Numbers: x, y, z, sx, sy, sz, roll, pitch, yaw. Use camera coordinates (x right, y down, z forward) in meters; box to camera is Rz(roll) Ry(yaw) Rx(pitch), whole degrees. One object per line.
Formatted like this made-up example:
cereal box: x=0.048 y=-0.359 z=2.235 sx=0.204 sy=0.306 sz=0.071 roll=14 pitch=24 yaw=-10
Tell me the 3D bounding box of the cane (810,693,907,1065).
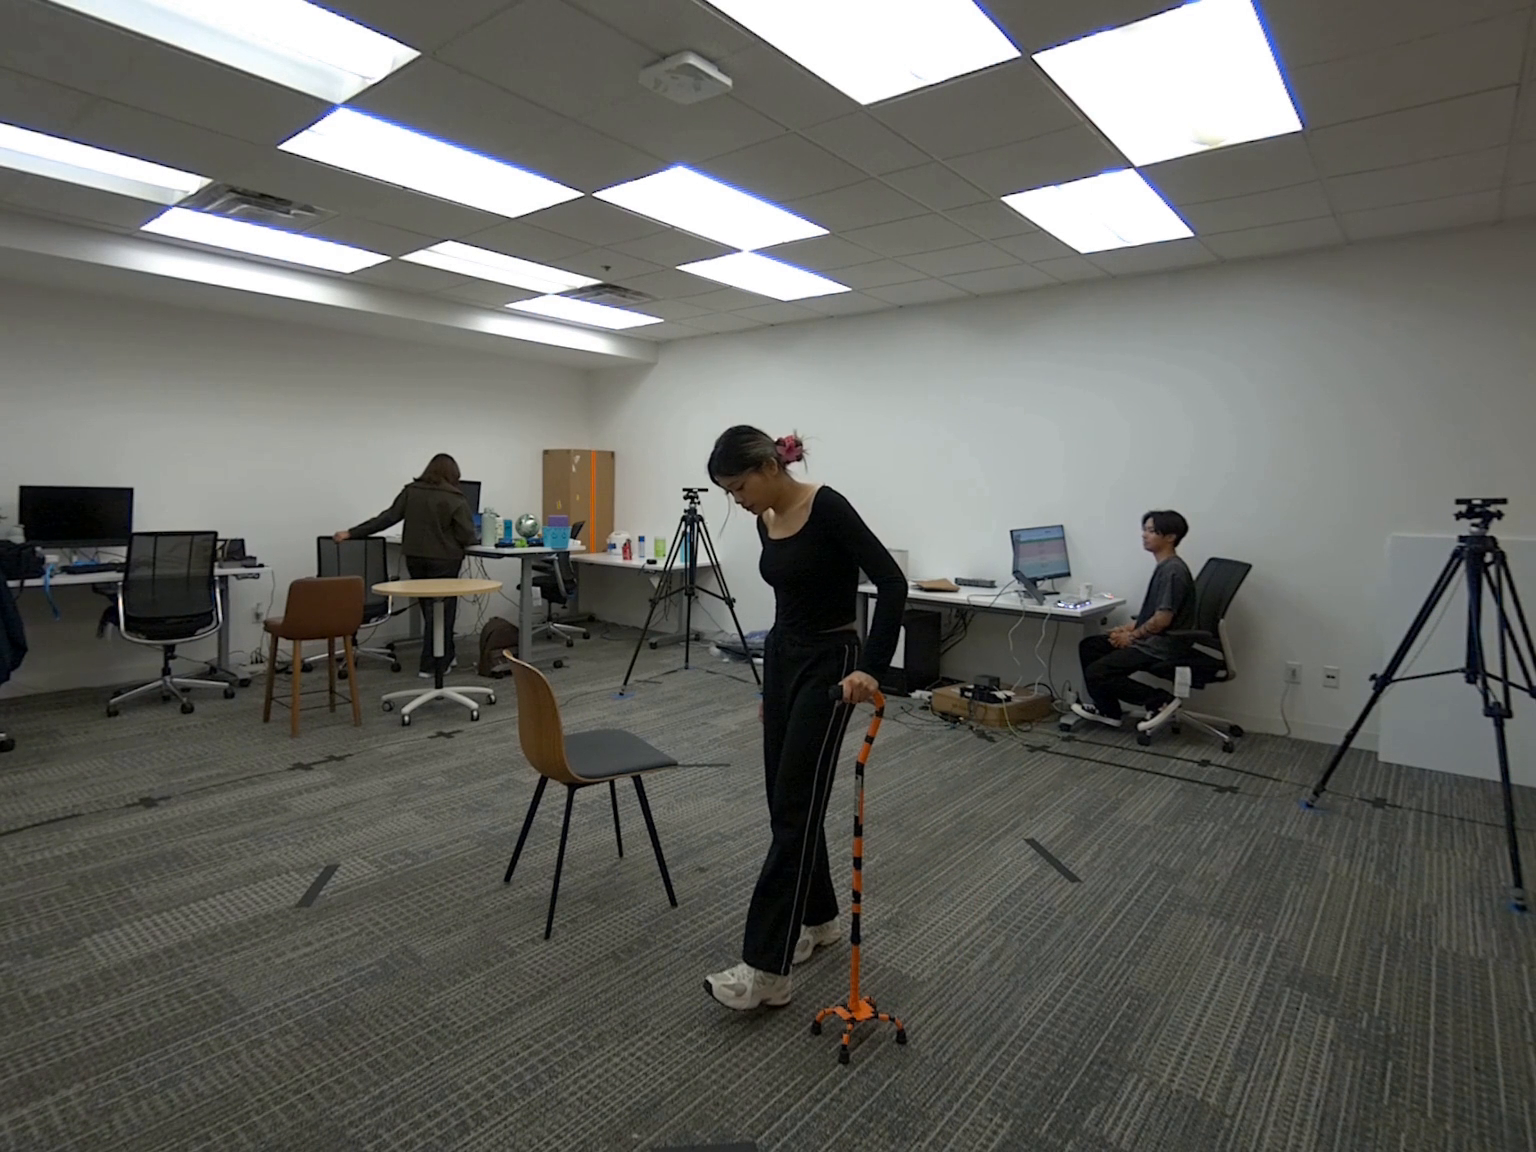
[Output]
cane: x=0.232 y=0.716 z=2.147 sx=0.201 sy=0.905 sz=0.156 roll=-3 pitch=4 yaw=-31
